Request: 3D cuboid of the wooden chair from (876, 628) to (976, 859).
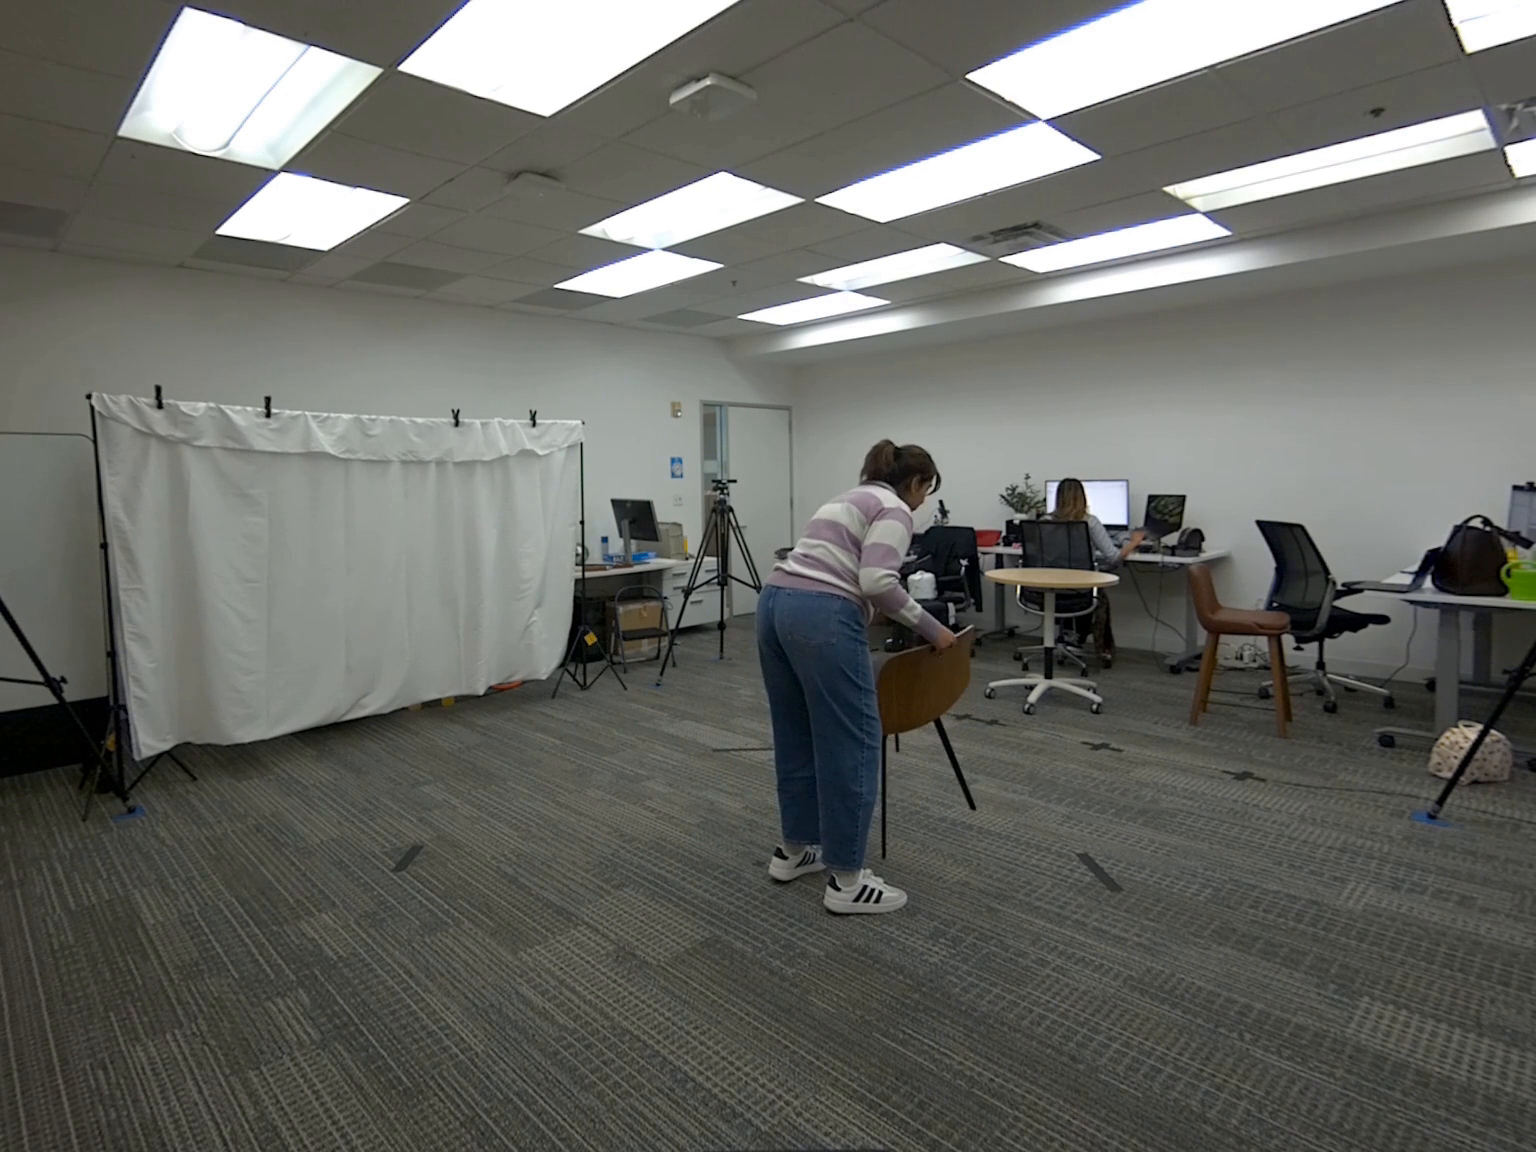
[{"bbox_3d":[0.454,0.490,3.184,0.470,0.857,0.543,-17,31,-27],"label":"wooden chair"}]
